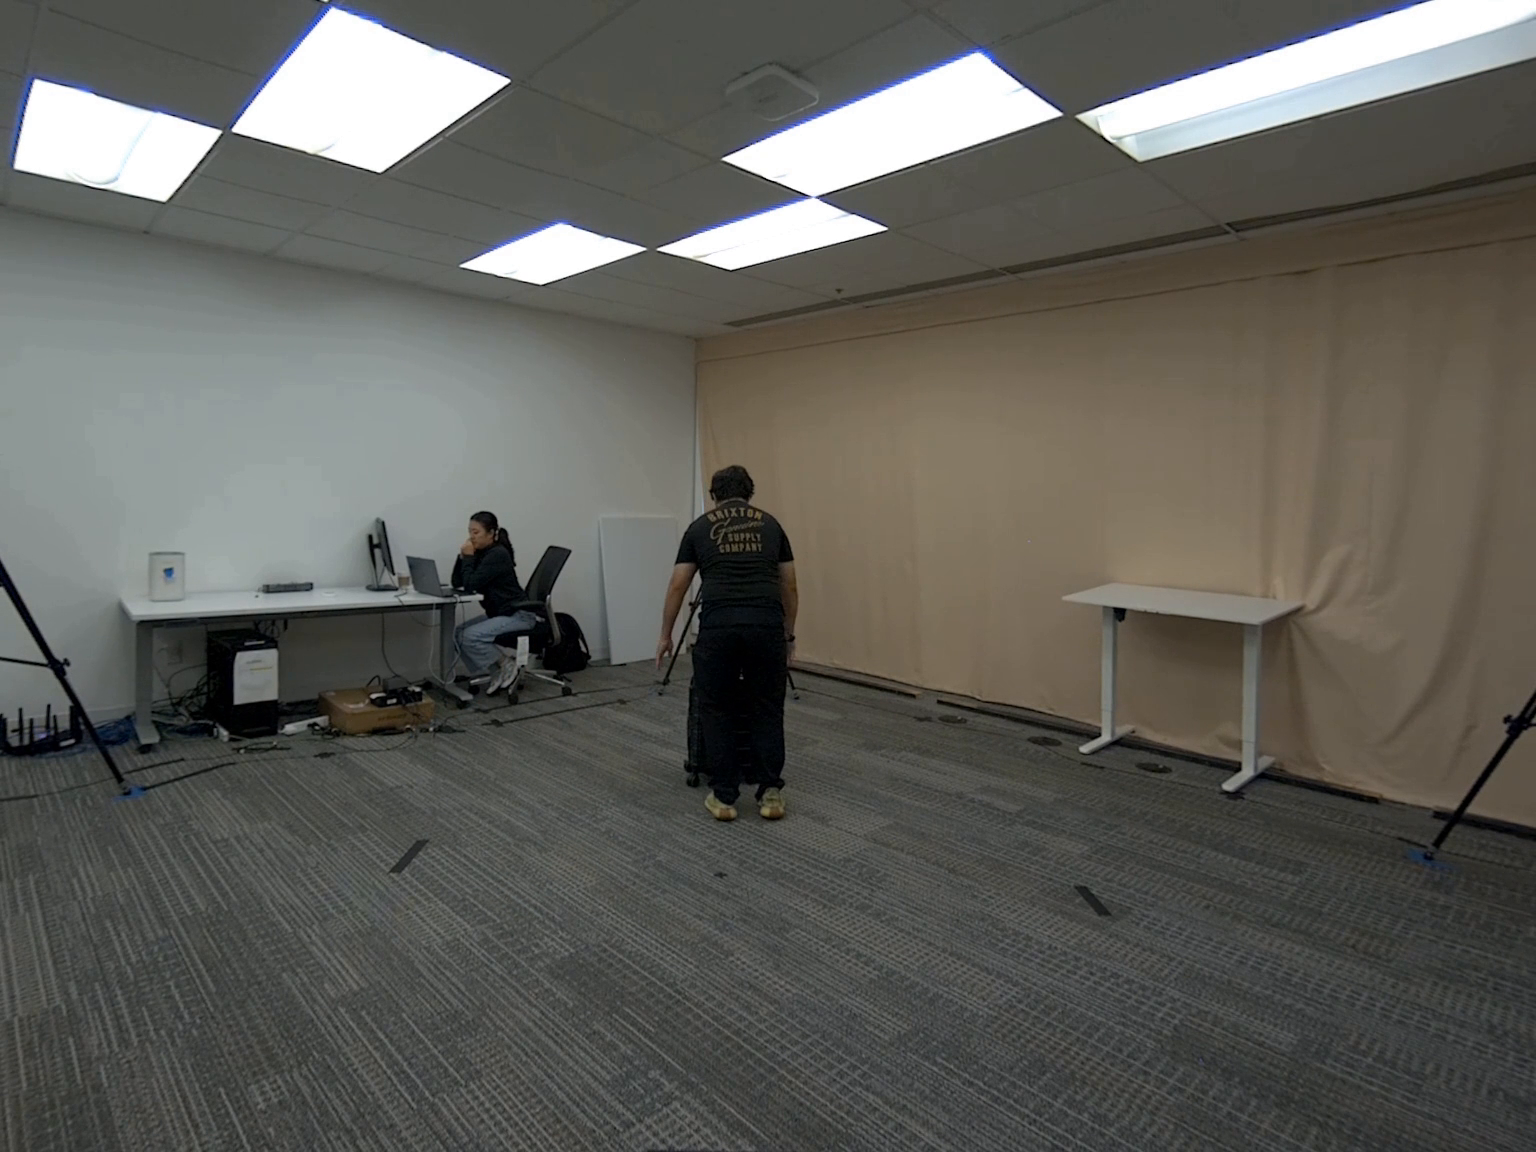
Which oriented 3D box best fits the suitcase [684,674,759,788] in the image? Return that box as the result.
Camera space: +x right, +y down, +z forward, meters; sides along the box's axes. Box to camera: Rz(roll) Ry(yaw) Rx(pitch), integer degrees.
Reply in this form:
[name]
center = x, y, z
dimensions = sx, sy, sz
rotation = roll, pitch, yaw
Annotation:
[suitcase]
center = -0.224, 0.733, 4.191
dimensions = 0.374, 0.548, 0.250
rotation = 1, 2, -5
